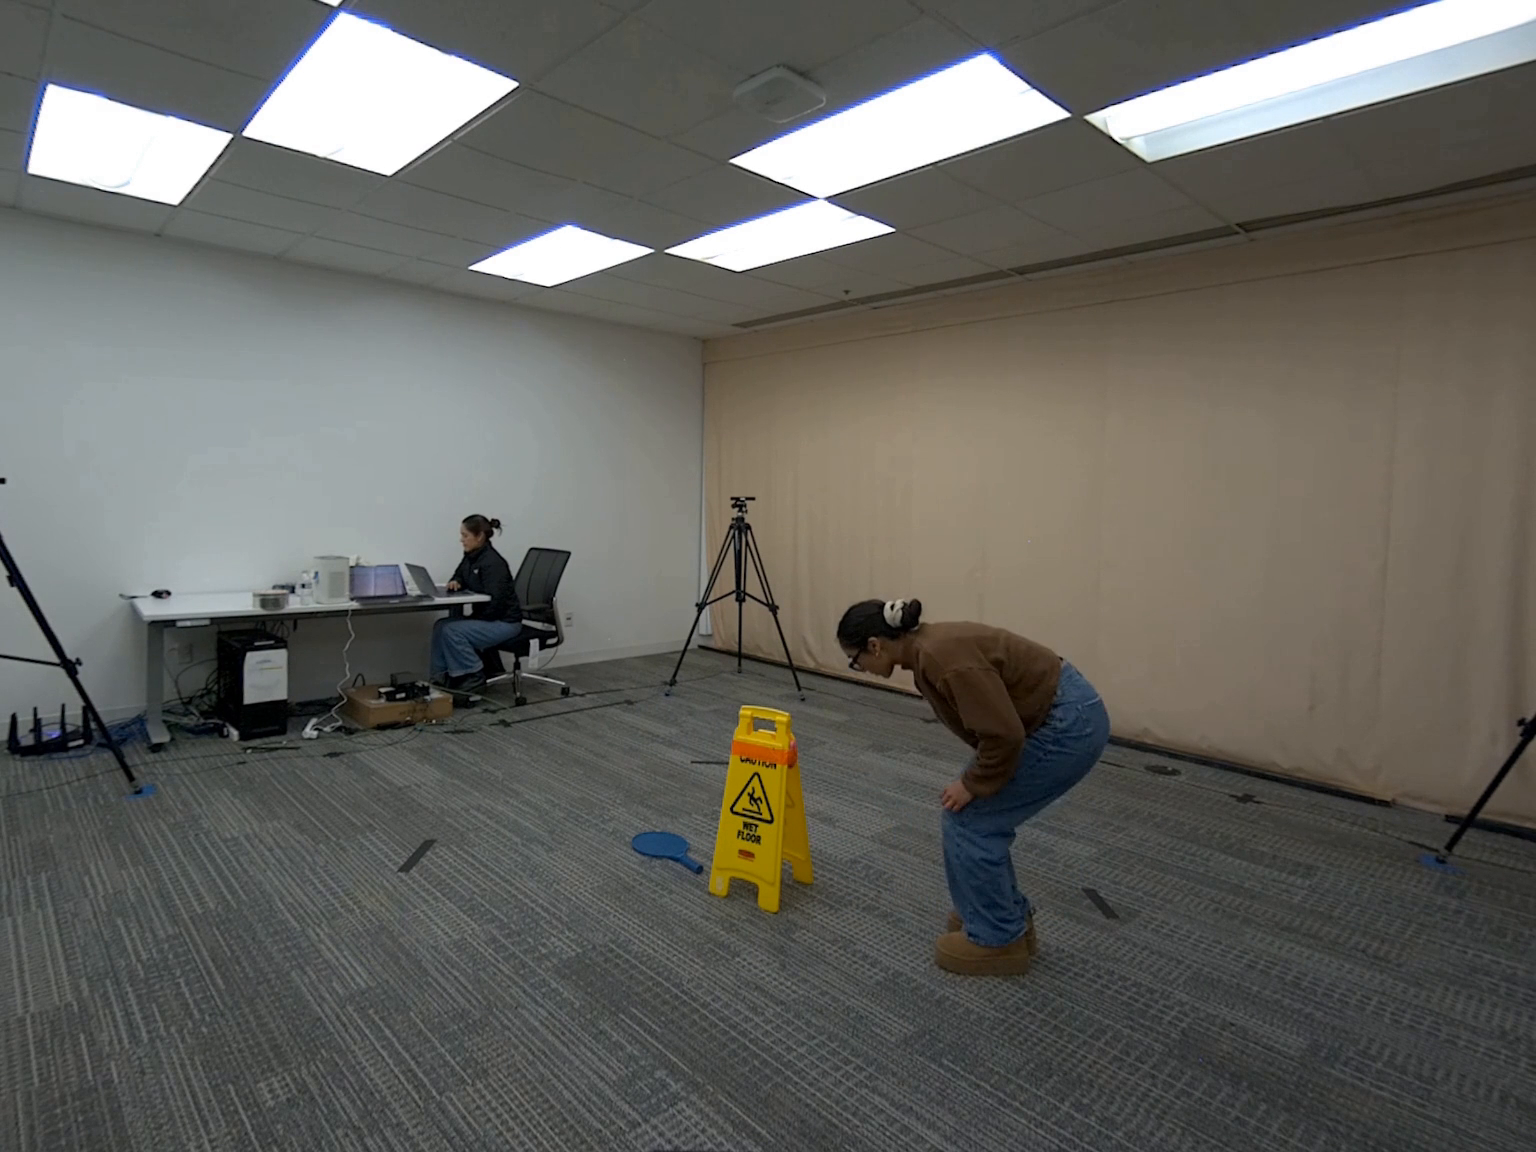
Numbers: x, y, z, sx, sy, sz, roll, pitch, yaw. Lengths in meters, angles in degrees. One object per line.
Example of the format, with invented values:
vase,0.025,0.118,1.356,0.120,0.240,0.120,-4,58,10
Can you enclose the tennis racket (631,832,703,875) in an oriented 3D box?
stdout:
tennis racket,-0.384,1.071,3.286,0.209,0.032,0.443,-2,5,-37
